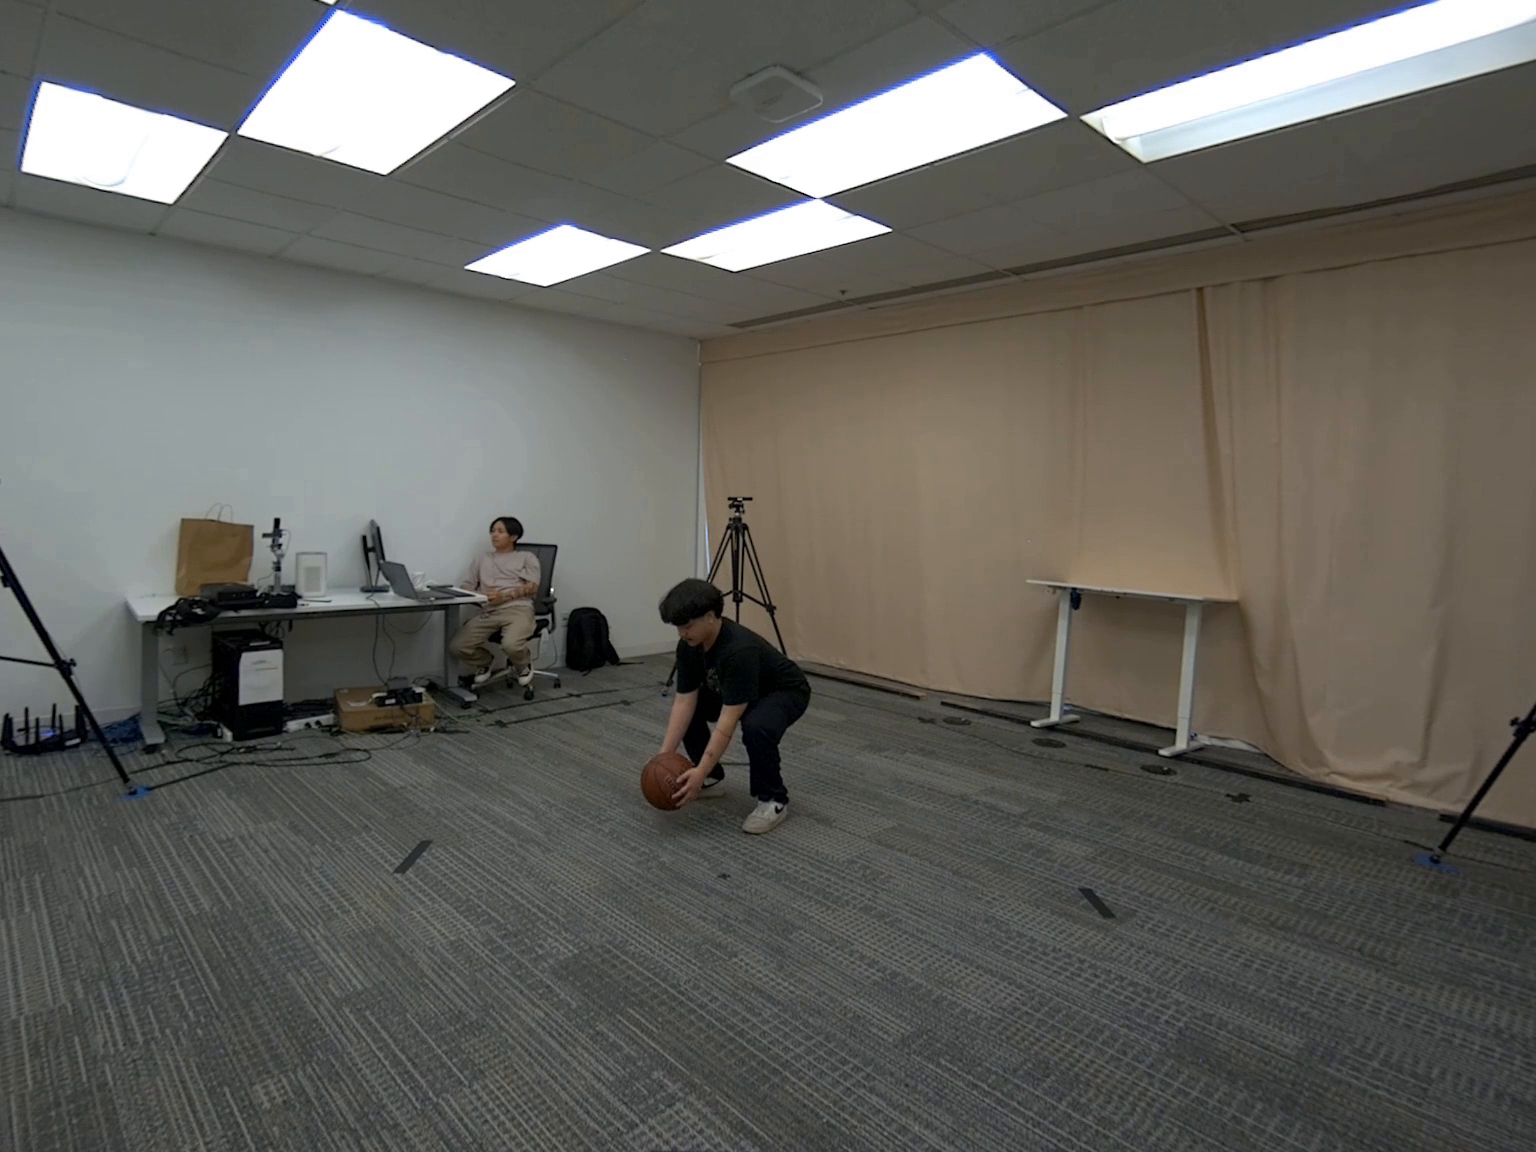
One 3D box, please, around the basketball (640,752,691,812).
[{"bbox_3d":[-0.435,0.853,3.536,0.236,0.235,0.237,1,4,-1],"label":"basketball"}]
